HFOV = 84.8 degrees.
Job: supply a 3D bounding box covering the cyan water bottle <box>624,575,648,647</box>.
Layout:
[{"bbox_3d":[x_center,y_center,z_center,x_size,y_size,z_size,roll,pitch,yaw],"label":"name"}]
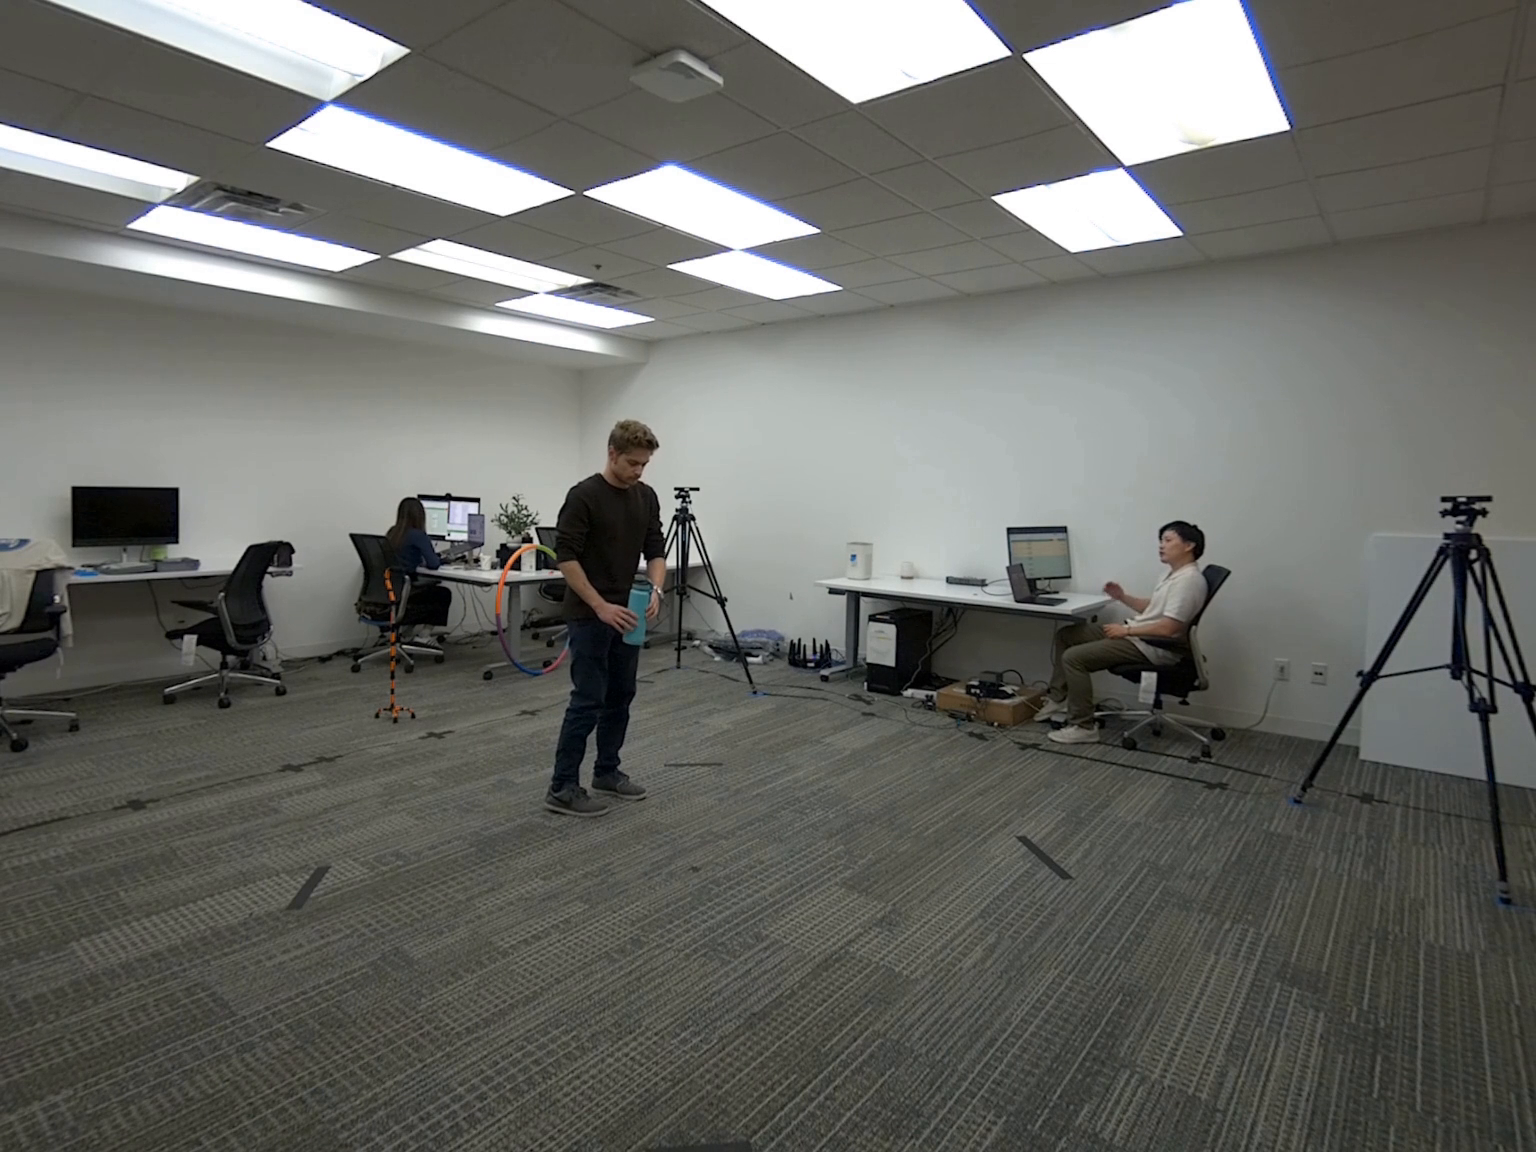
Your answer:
[{"bbox_3d":[-0.578,0.144,3.547,0.092,0.282,0.093,9,7,-3],"label":"cyan water bottle"}]
